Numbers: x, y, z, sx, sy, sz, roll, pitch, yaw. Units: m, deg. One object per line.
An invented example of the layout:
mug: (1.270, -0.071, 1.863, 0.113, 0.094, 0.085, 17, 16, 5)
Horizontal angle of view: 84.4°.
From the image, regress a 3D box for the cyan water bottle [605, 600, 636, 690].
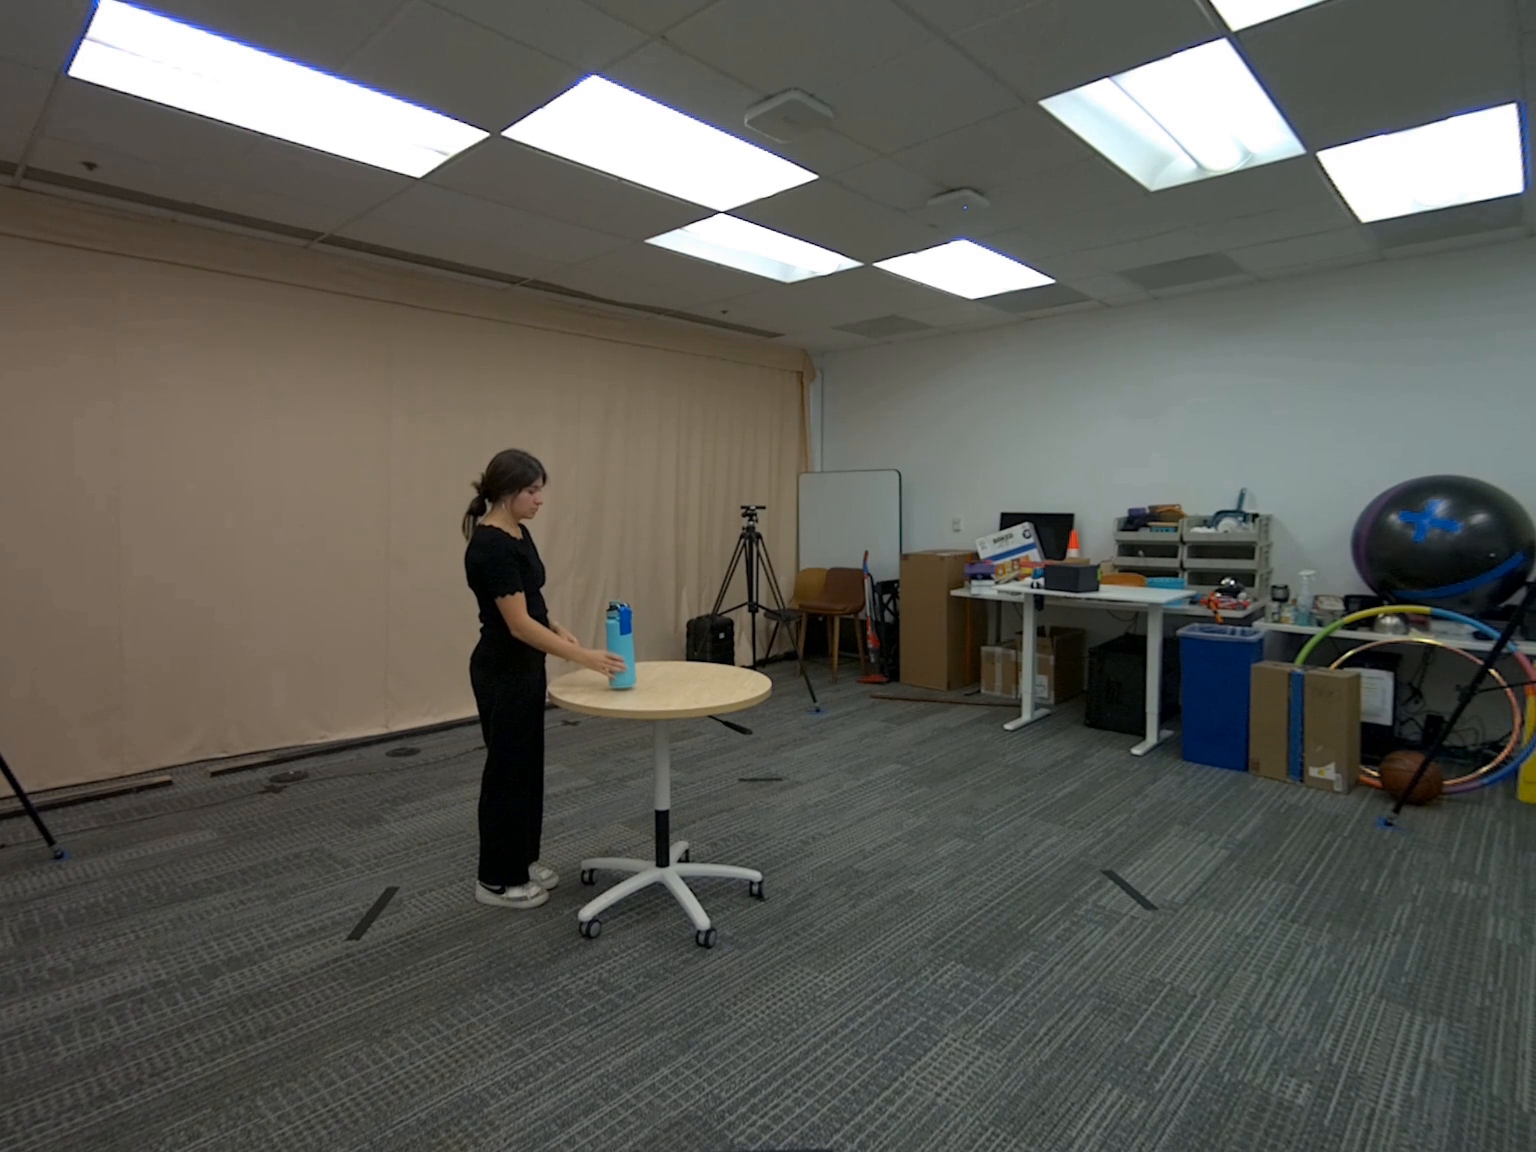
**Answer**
cyan water bottle: (-0.491, 0.220, 2.784, 0.092, 0.282, 0.093, 1, 4, -2)
